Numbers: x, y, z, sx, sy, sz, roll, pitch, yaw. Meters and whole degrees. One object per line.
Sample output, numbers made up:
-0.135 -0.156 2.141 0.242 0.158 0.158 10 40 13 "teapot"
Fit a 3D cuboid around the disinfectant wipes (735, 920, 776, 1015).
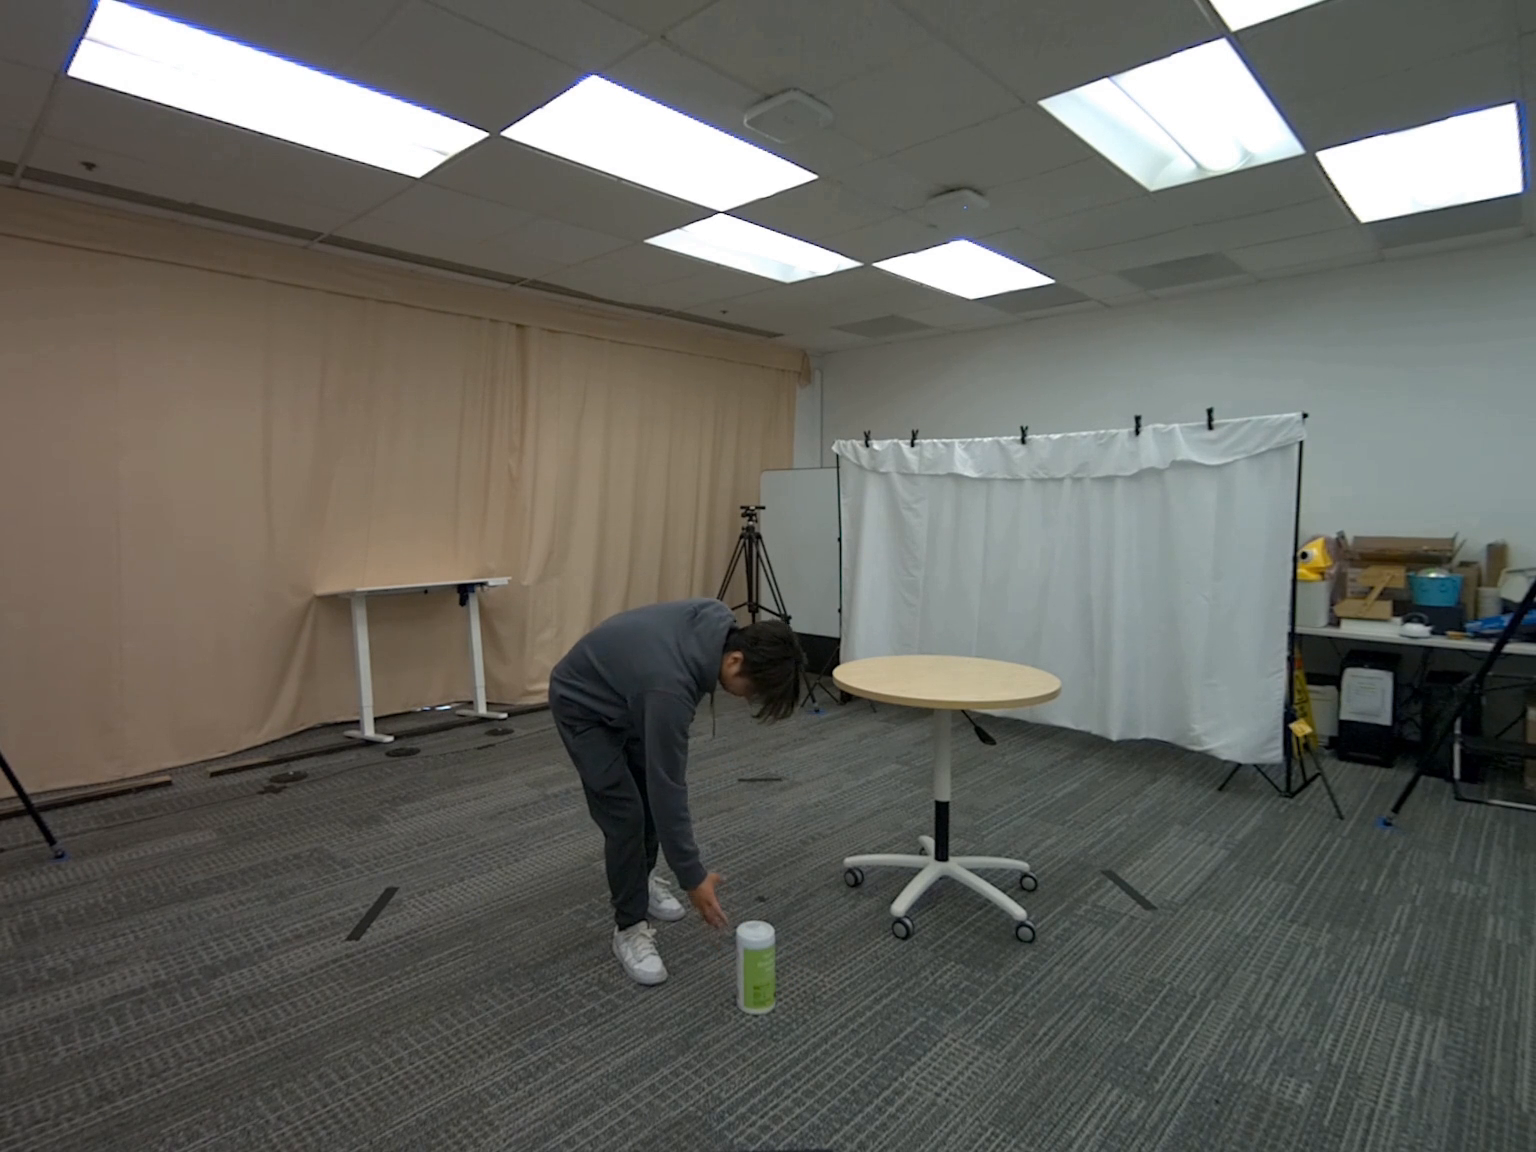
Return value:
-0.030 1.091 2.341 0.118 0.217 0.118 0 3 -2 "disinfectant wipes"
